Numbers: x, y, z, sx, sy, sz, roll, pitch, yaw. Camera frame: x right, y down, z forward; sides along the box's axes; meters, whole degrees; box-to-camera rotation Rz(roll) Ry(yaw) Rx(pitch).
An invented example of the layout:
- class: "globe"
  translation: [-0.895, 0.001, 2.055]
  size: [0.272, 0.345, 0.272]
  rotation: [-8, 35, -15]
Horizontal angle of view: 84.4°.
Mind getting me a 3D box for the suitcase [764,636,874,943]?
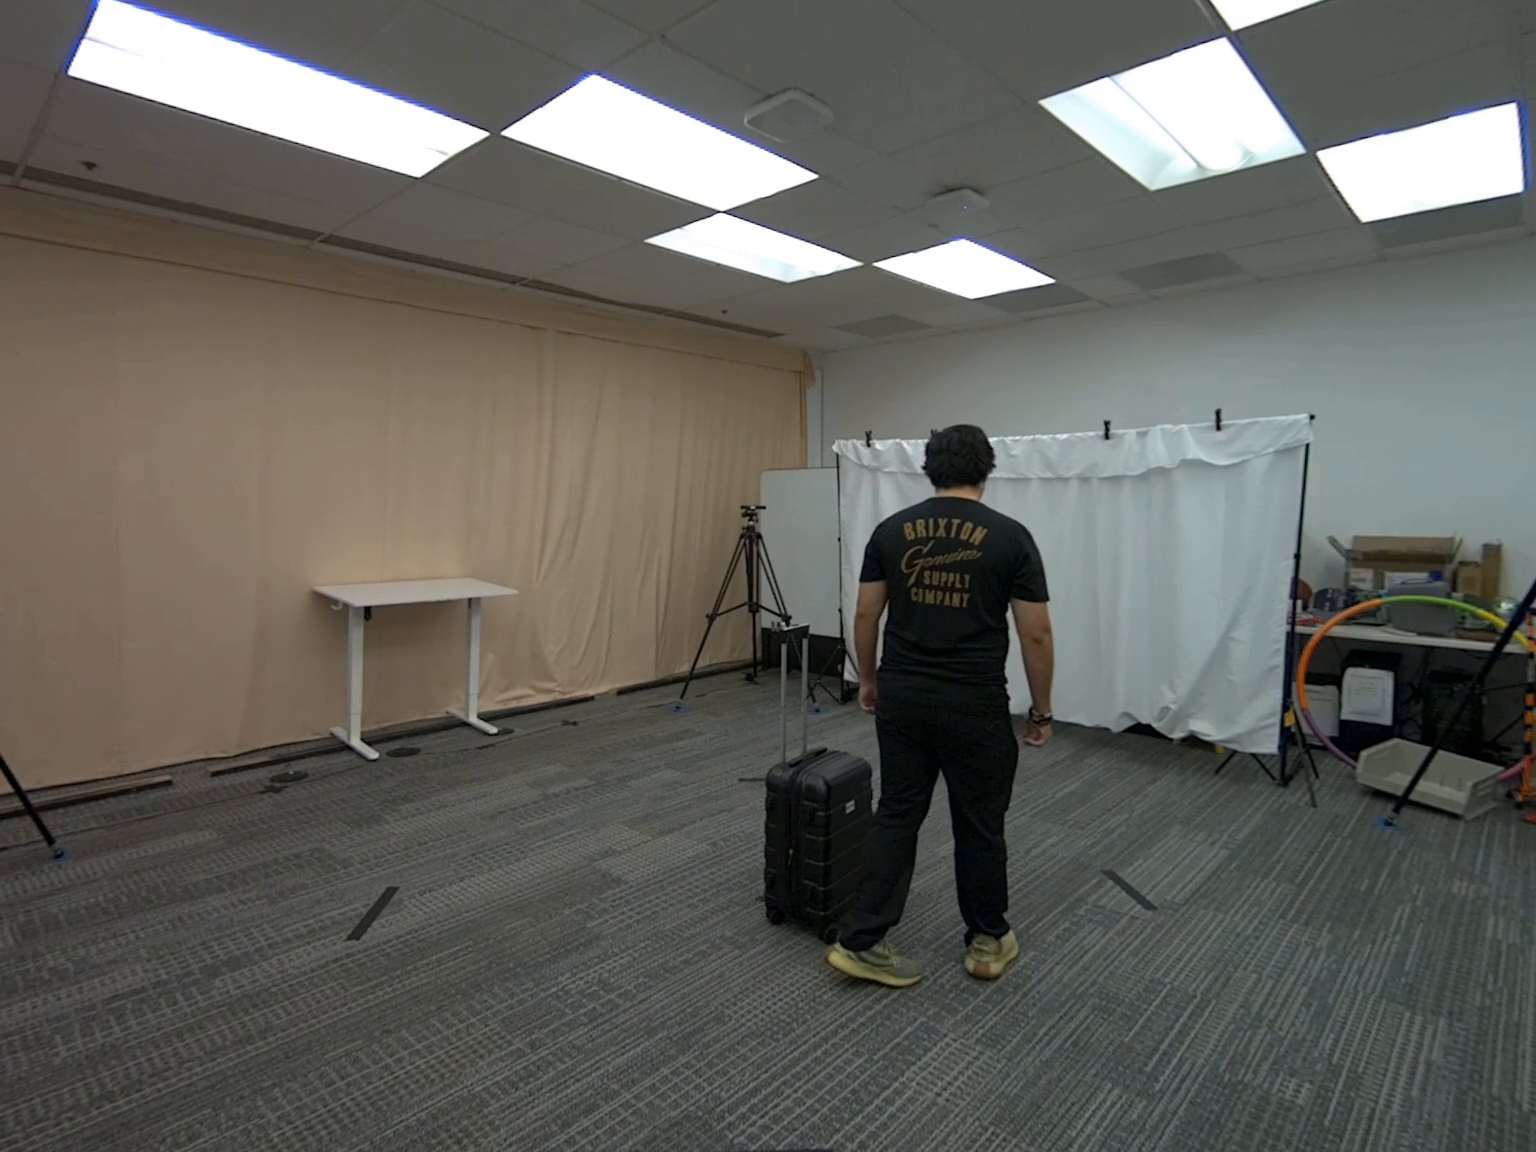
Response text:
- class: "suitcase"
  translation: [0.183, 0.677, 2.831]
  size: [0.265, 0.975, 0.373]
  rotation: [5, 6, 35]
